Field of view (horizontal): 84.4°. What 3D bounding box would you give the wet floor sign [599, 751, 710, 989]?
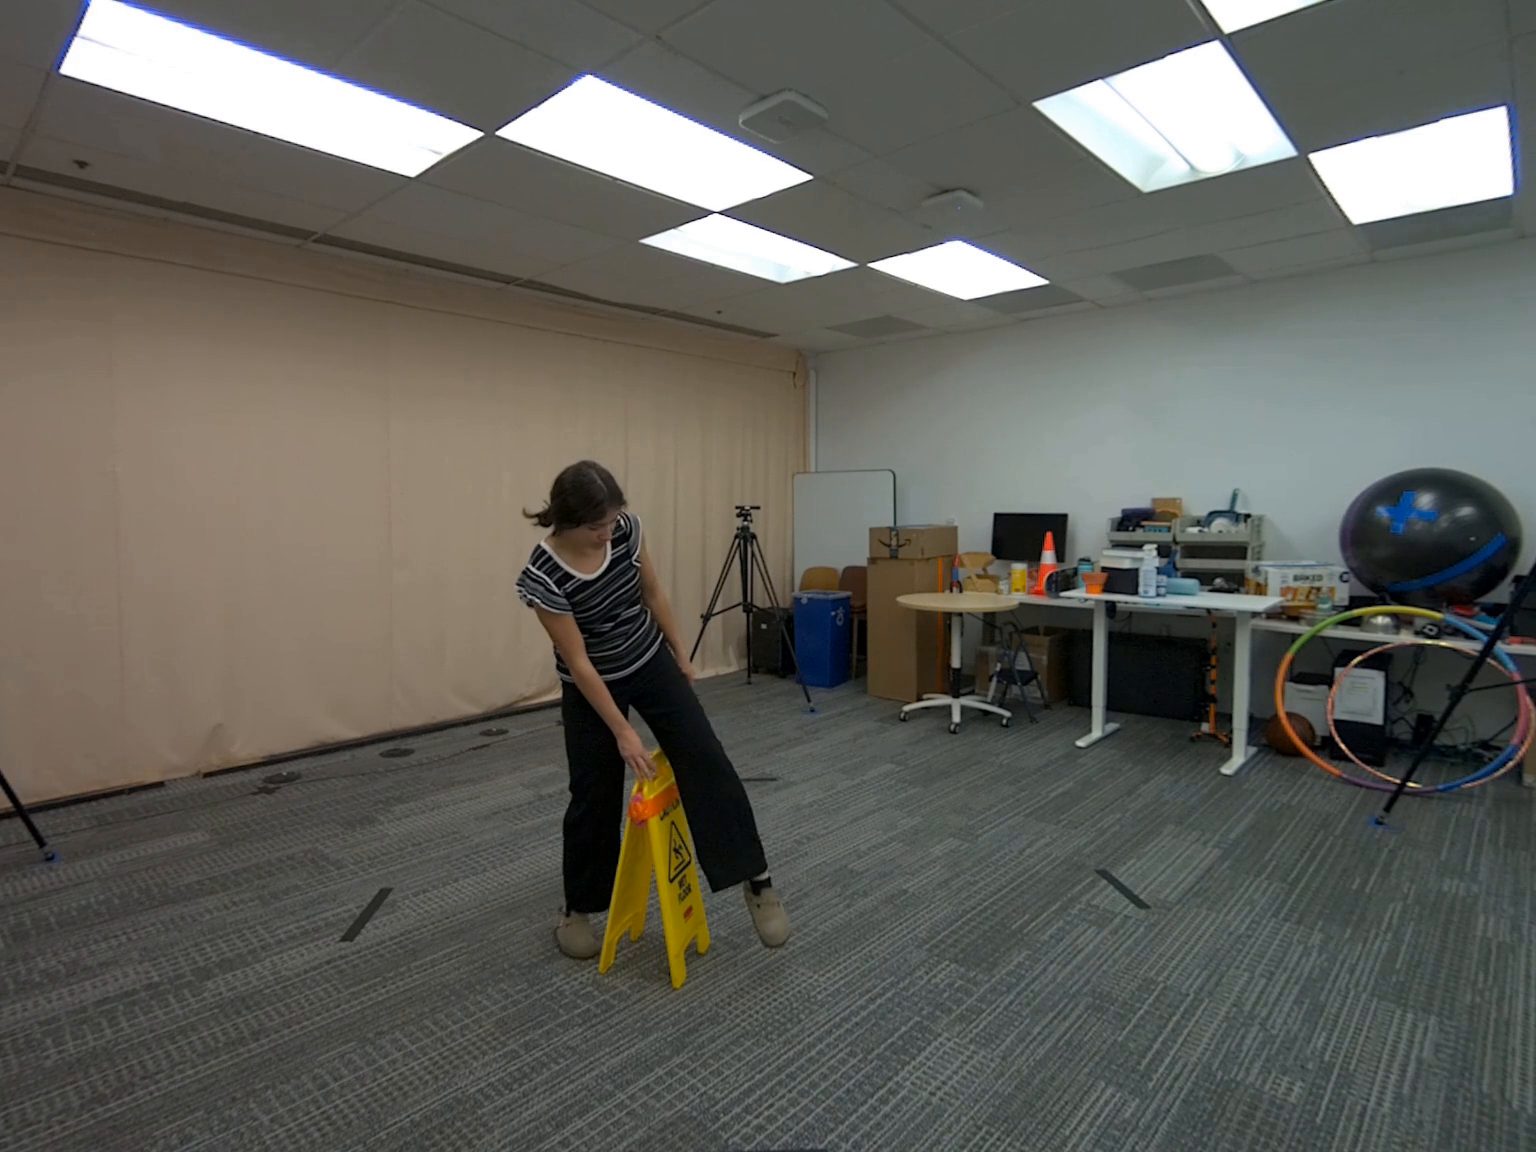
[{"bbox_3d":[-0.349,0.859,2.573,0.295,0.645,0.277,0,2,18],"label":"wet floor sign"}]
